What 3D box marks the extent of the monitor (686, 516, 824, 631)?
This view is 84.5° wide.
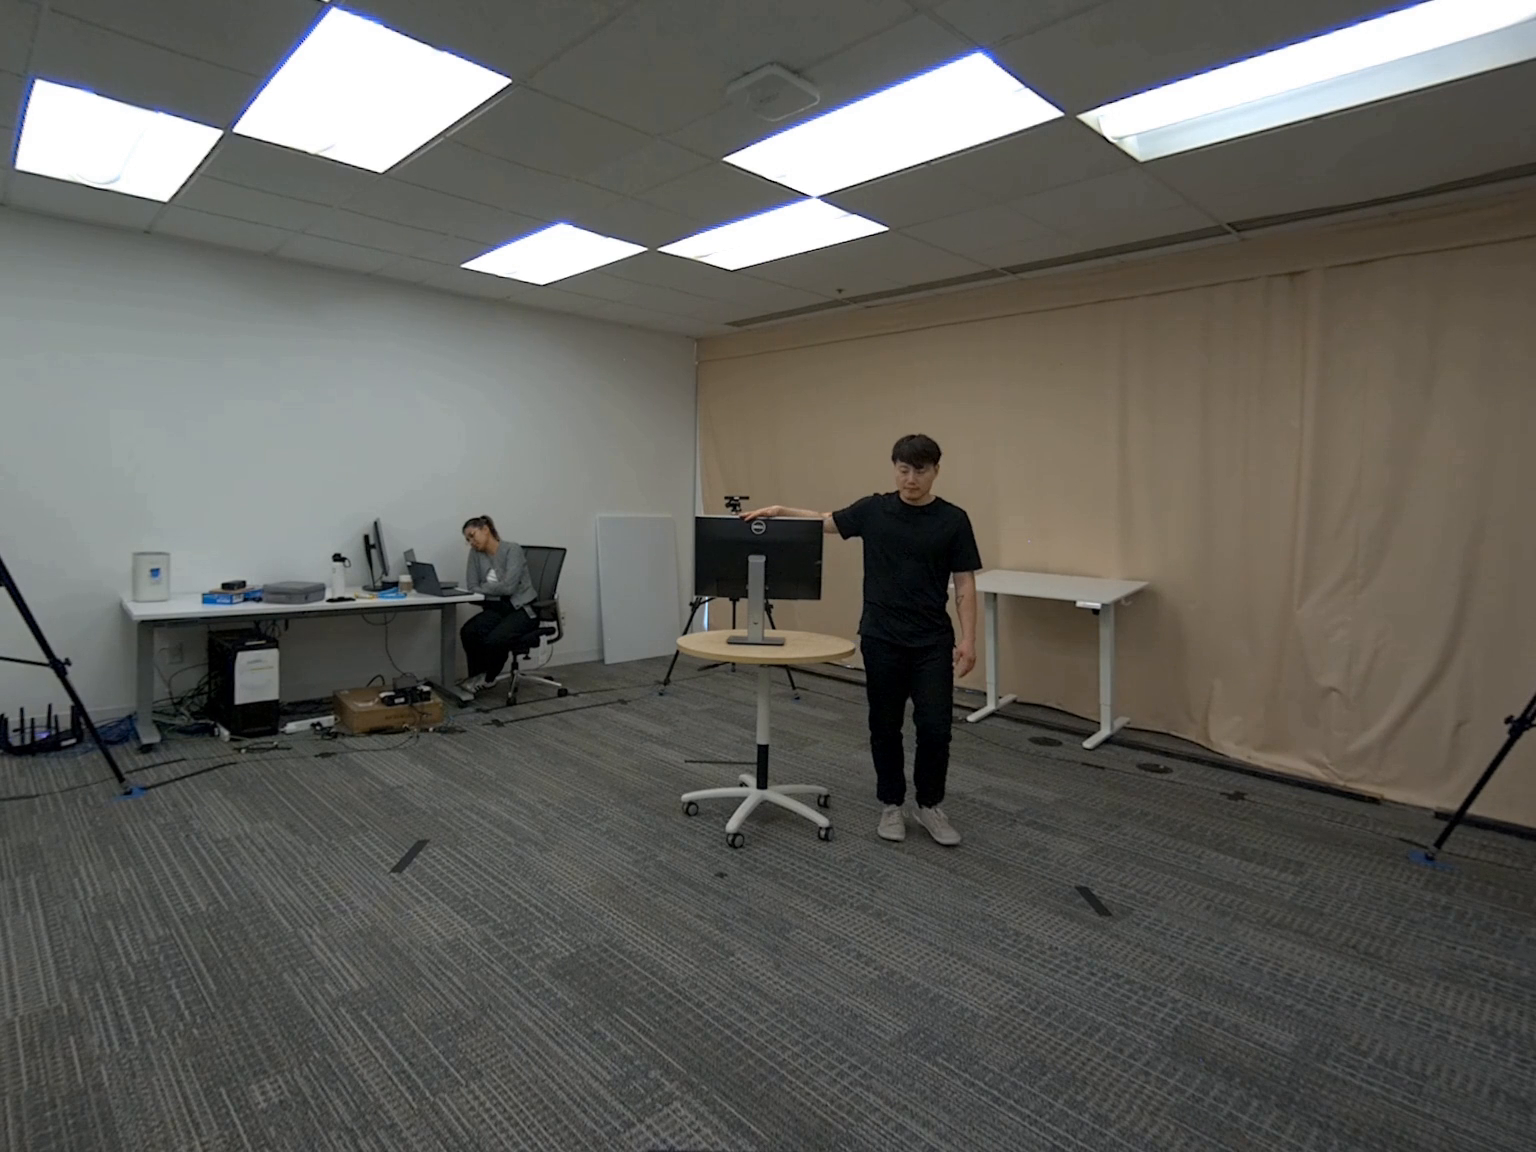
[{"bbox_3d":[-0.055,0.022,3.608,0.540,0.522,0.186,3,0,3],"label":"monitor"}]
